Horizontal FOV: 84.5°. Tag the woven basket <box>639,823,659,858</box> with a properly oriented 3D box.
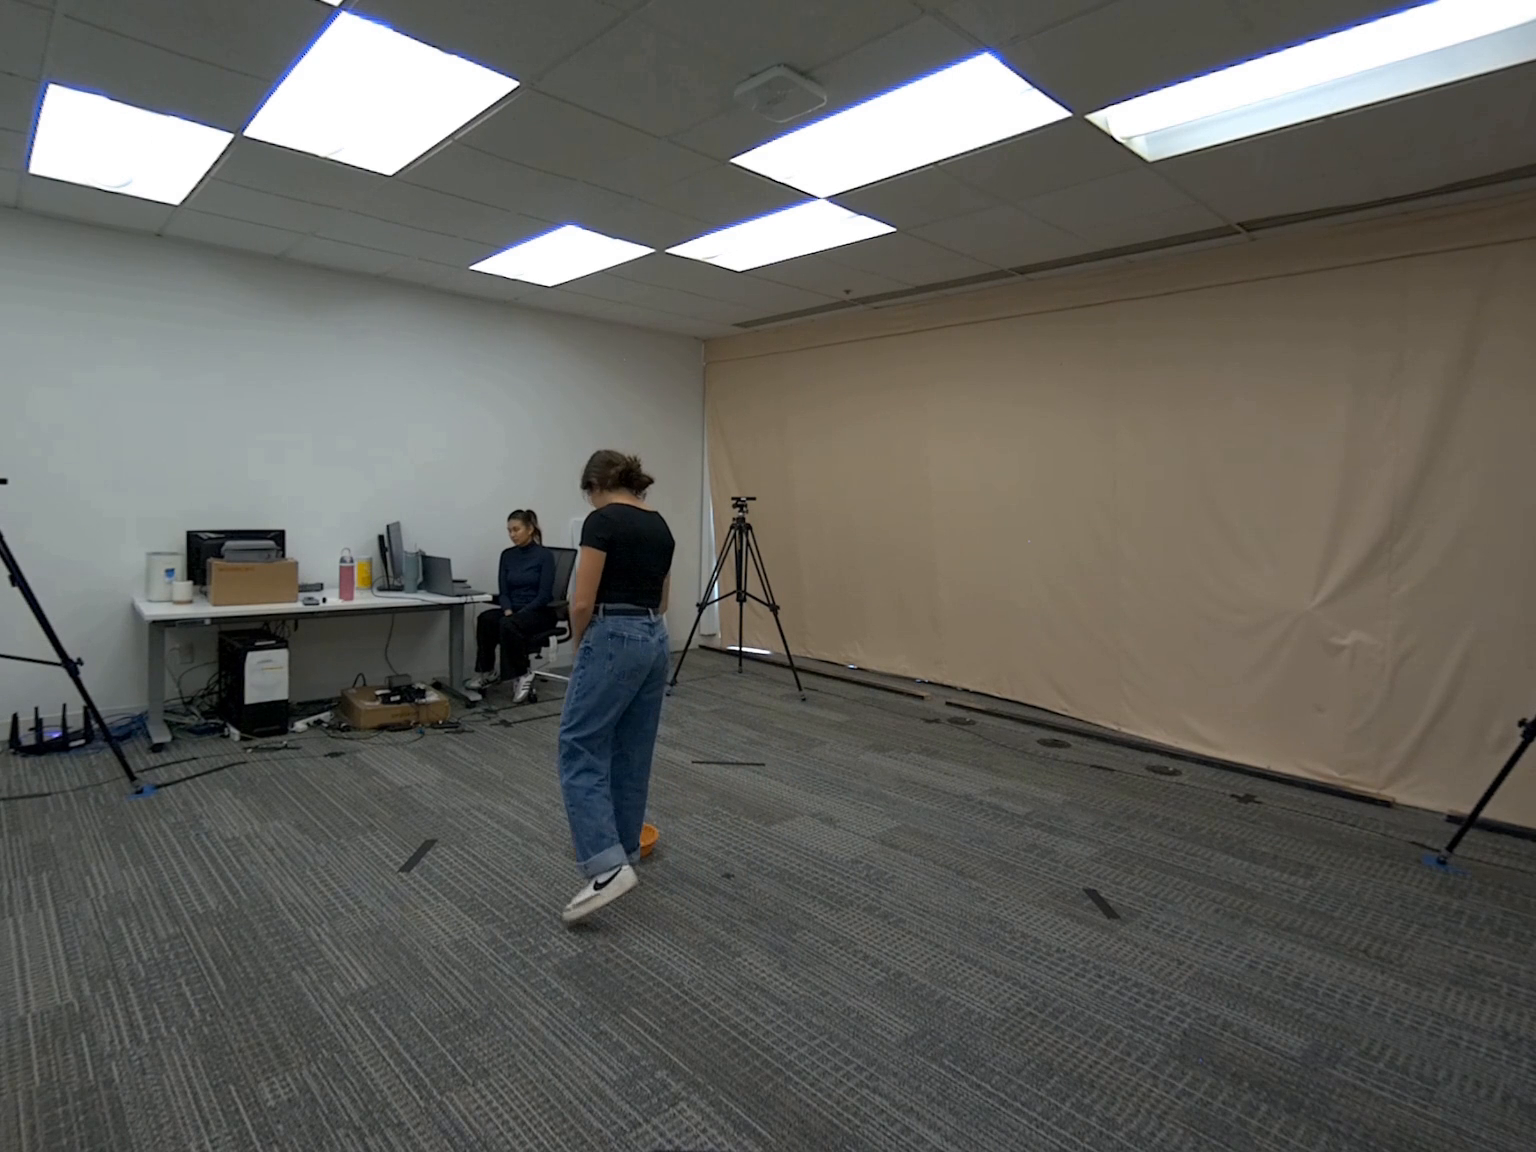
[{"bbox_3d":[-0.605,1.046,3.300,0.354,0.073,0.251,3,7,12],"label":"woven basket"}]
